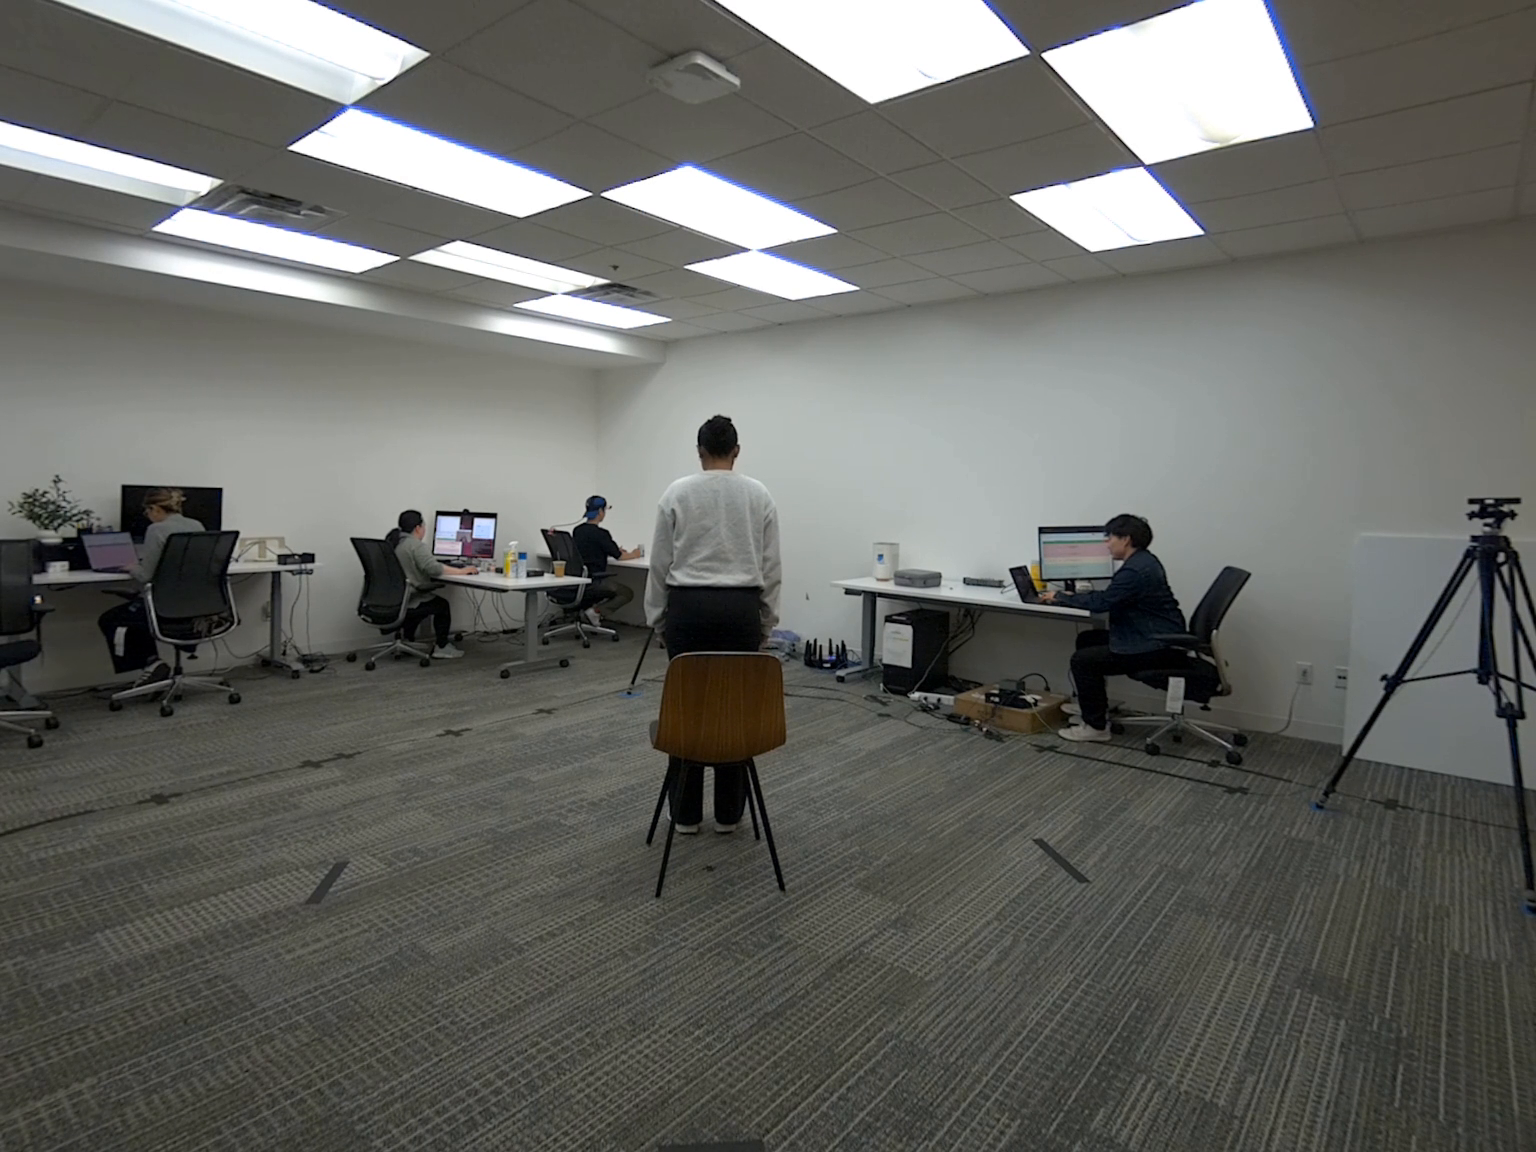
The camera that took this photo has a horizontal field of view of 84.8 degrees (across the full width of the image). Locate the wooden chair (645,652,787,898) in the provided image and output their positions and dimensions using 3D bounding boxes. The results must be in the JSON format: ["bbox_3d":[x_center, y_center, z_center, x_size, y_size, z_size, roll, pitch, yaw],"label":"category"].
[{"bbox_3d":[-0.209,0.634,3.107,0.473,0.871,0.533,0,8,-11],"label":"wooden chair"}]
